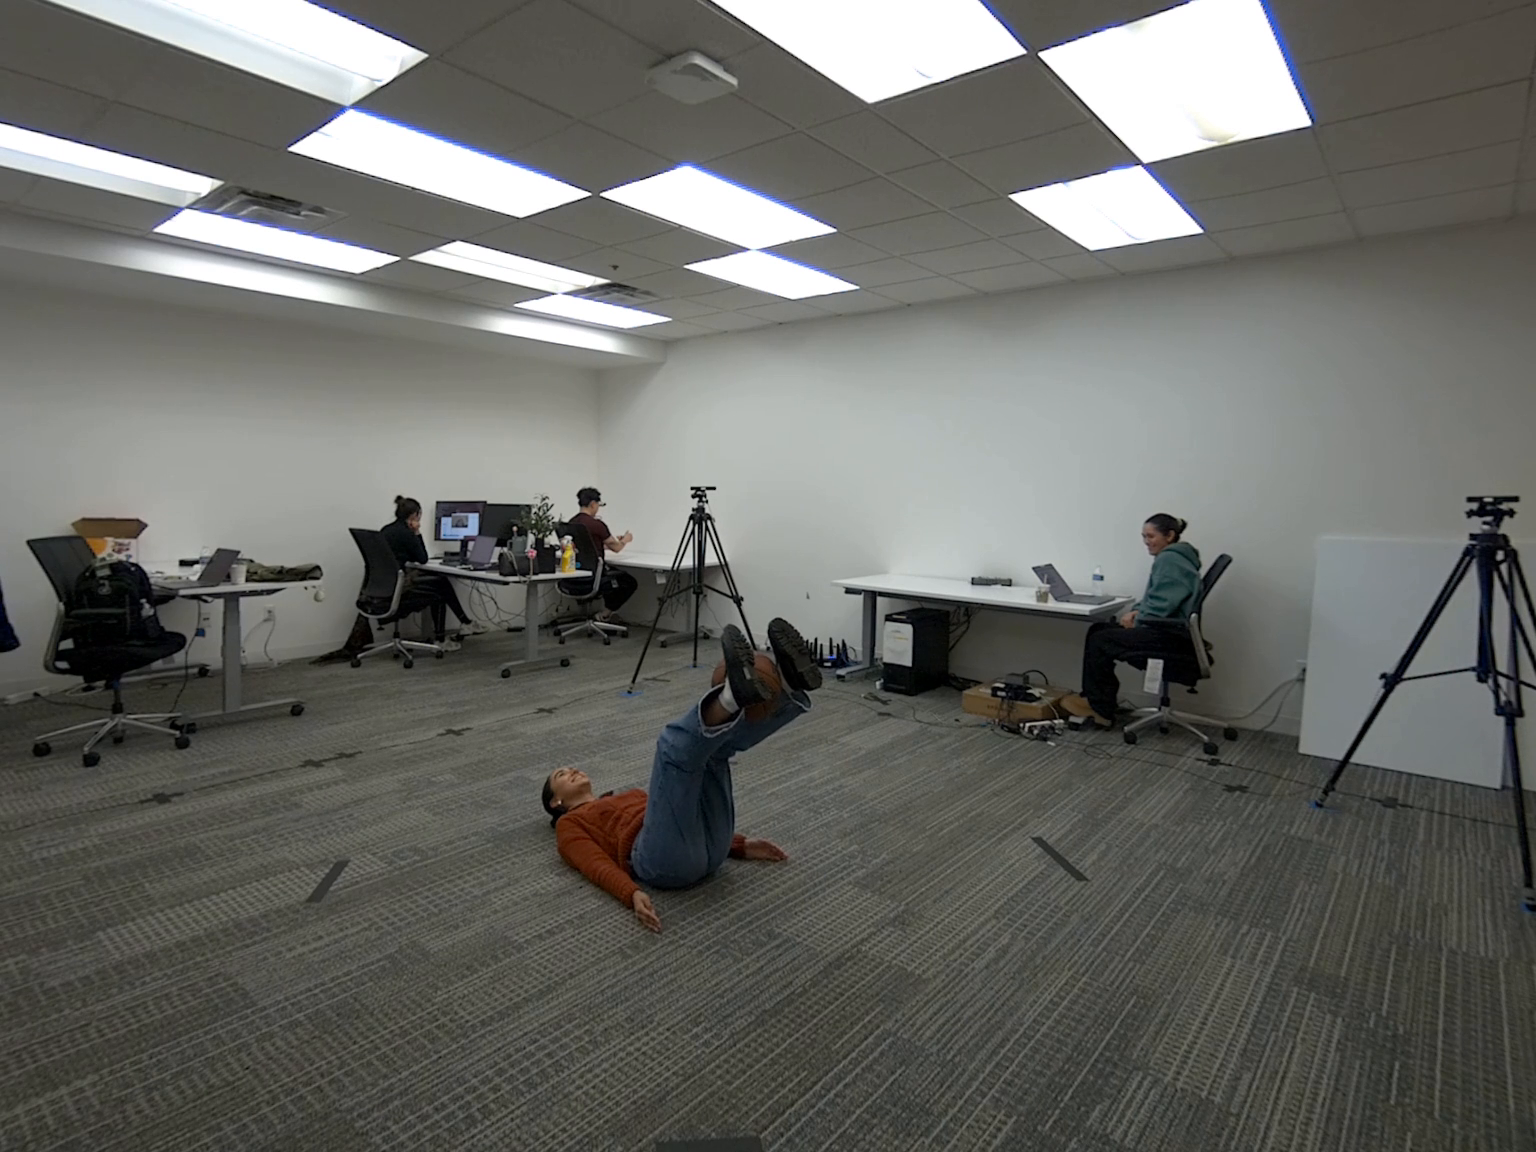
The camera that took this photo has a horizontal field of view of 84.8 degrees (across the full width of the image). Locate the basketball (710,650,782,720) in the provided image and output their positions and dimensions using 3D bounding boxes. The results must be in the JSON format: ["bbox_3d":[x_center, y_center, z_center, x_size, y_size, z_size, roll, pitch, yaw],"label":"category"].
[{"bbox_3d":[-0.078,0.363,2.837,0.236,0.235,0.237,1,4,-2],"label":"basketball"}]
